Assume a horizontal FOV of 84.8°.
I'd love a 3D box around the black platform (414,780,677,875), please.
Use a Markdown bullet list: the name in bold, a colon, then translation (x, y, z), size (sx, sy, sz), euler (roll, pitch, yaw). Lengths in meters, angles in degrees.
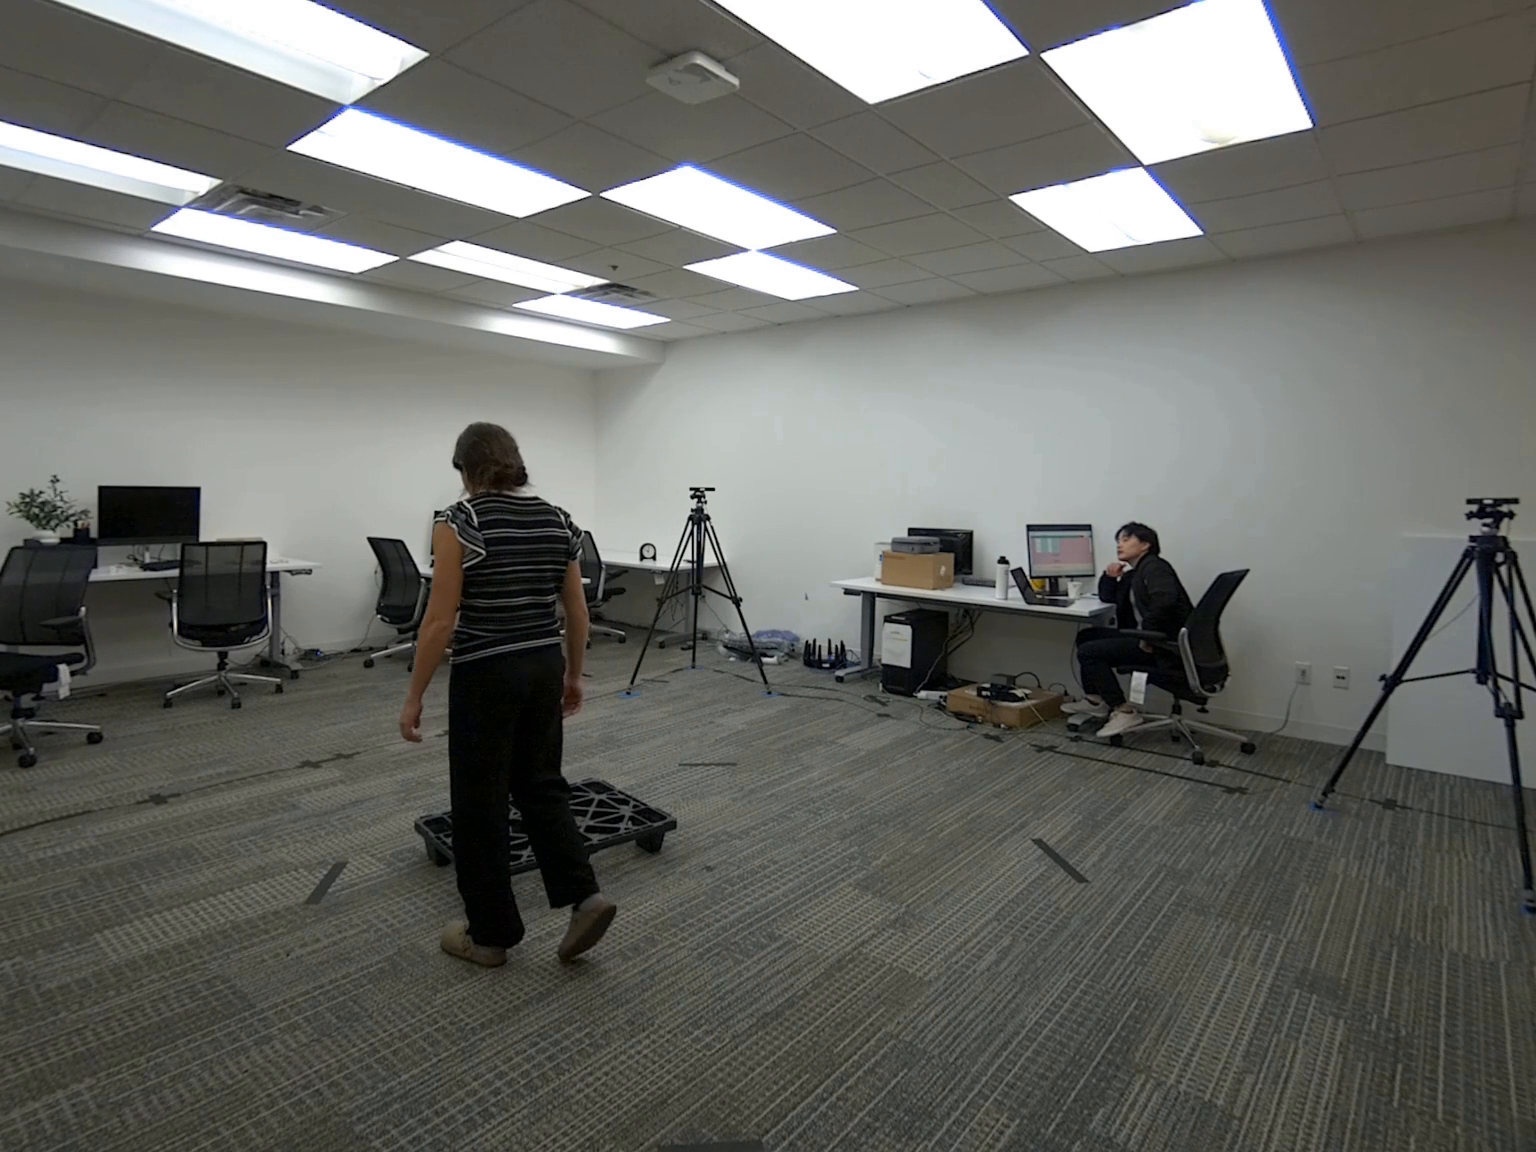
- **black platform**: translation (-0.849, 0.980, 3.206), size (0.781, 0.143, 0.625), euler (-3, 6, -40)
